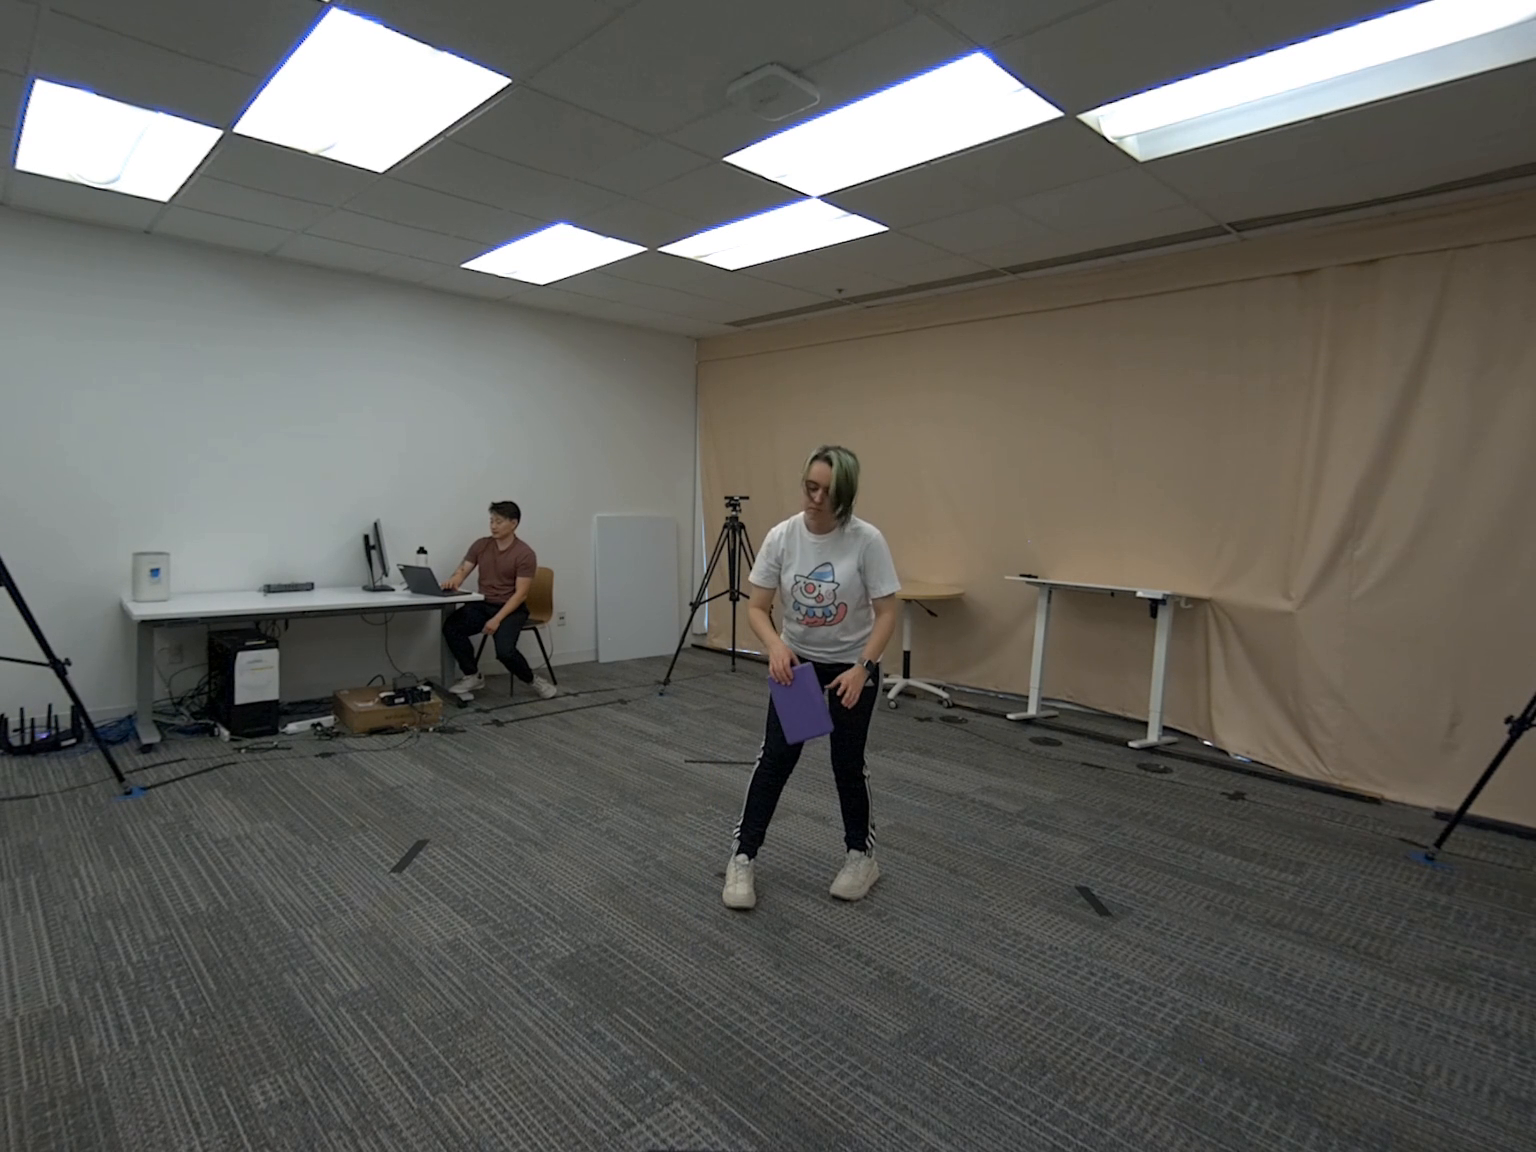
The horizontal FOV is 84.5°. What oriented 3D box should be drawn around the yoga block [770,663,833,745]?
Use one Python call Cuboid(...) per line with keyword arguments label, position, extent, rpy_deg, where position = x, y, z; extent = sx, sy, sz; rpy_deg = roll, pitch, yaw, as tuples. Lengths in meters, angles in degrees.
Cuboid(label="yoga block", position=(0.094, 0.413, 2.698), extent=(0.151, 0.231, 0.075), rpy_deg=(-22, -10, 29))
